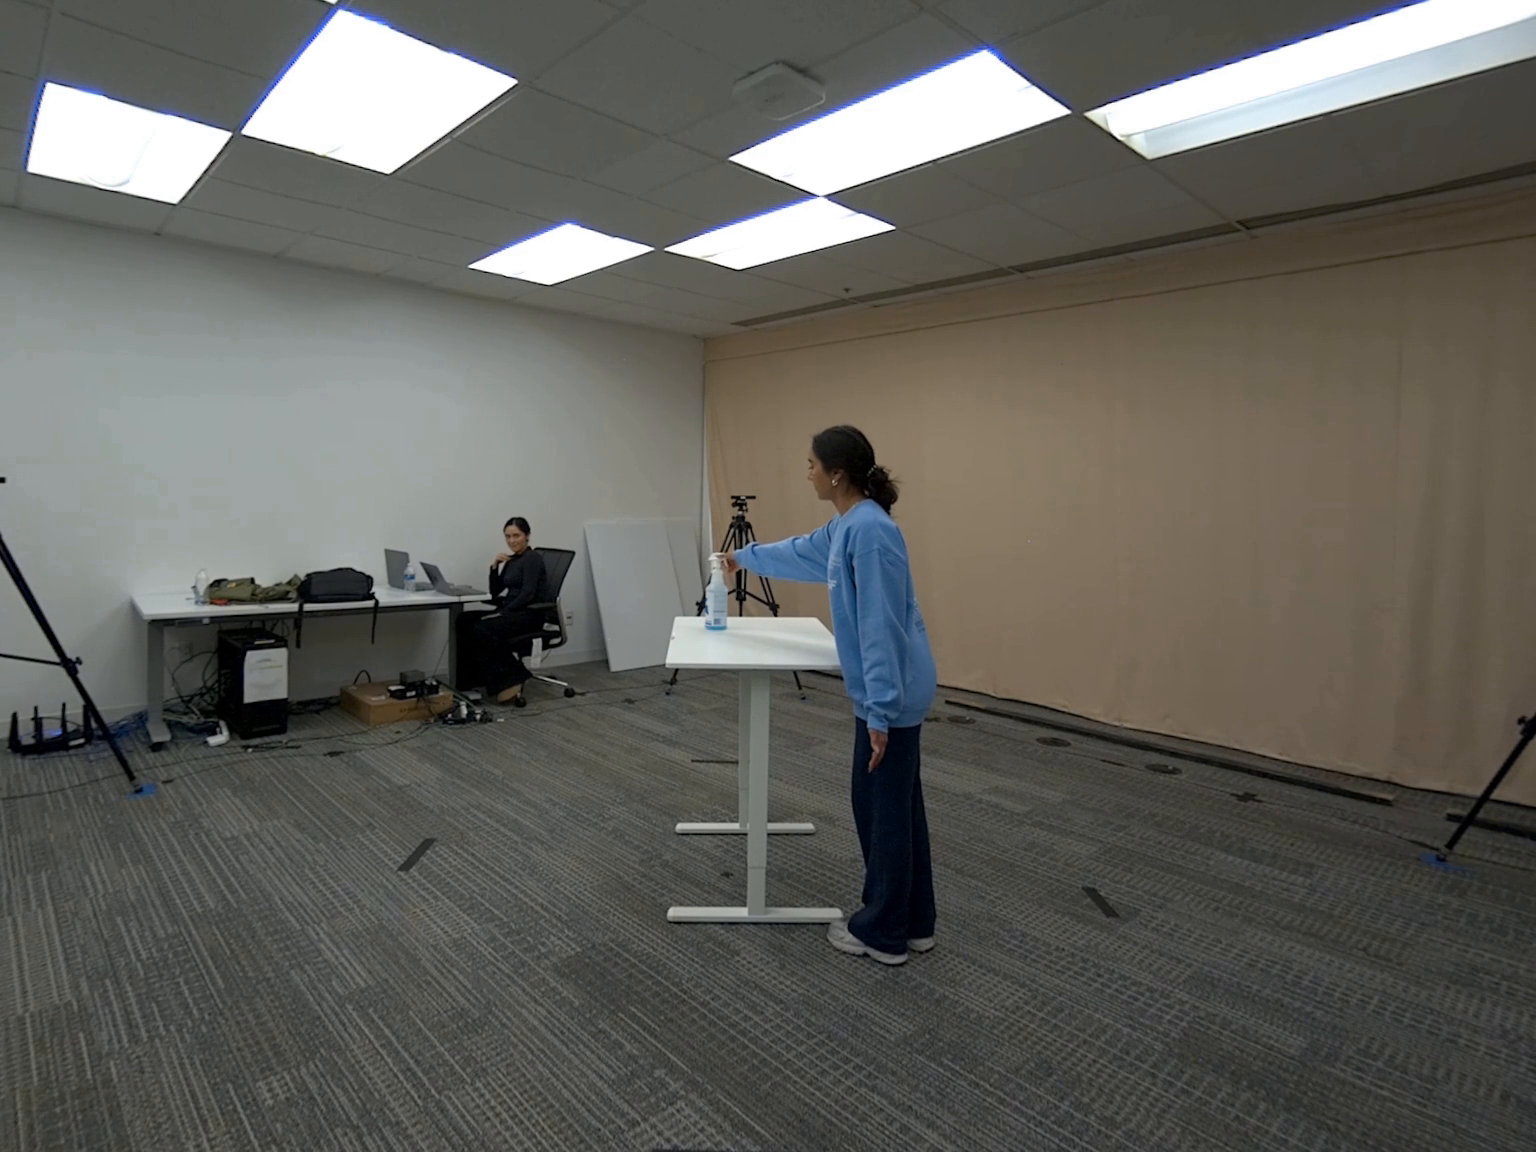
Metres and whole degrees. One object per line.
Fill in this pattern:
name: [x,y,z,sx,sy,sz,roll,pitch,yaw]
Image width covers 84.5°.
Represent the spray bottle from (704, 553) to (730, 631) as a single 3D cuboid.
spray bottle: [-0.206,0.061,3.260,0.085,0.297,0.092,0,2,-35]
